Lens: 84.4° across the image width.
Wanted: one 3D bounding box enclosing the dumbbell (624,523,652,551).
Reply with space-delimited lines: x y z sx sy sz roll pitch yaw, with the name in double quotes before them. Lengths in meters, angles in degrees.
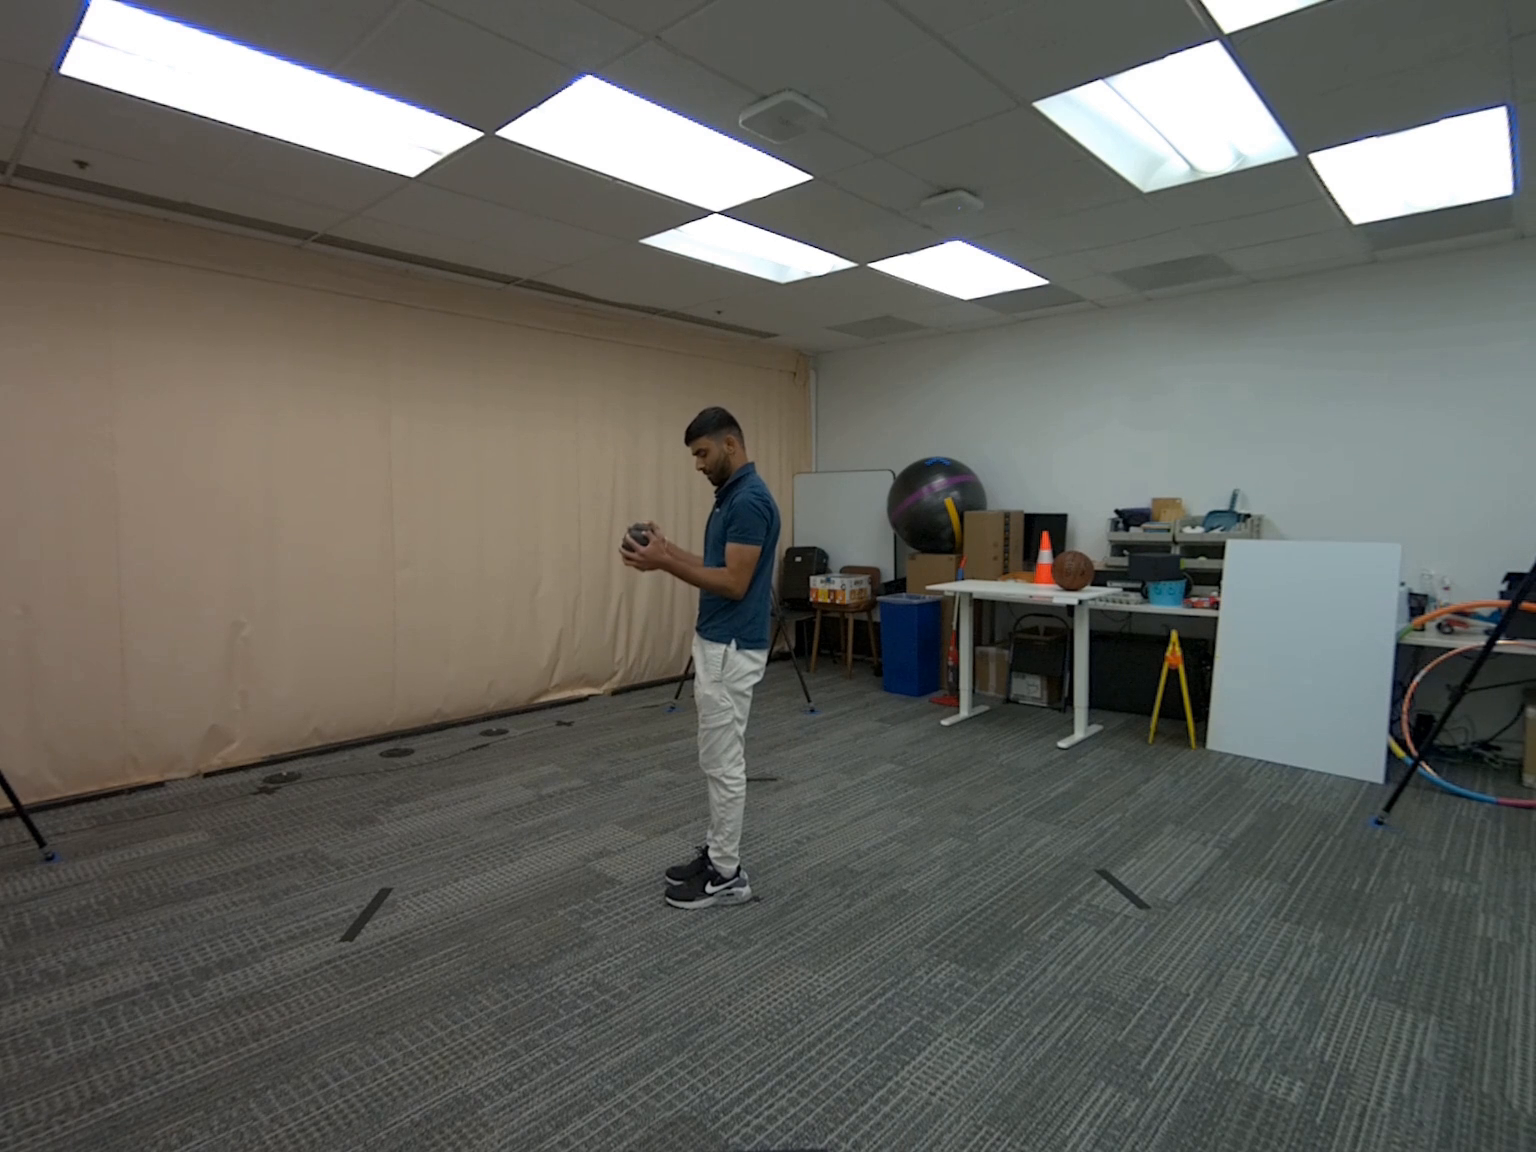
"dumbbell" -0.408 -0.103 2.978 0.107 0.123 0.296 36 8 -10
